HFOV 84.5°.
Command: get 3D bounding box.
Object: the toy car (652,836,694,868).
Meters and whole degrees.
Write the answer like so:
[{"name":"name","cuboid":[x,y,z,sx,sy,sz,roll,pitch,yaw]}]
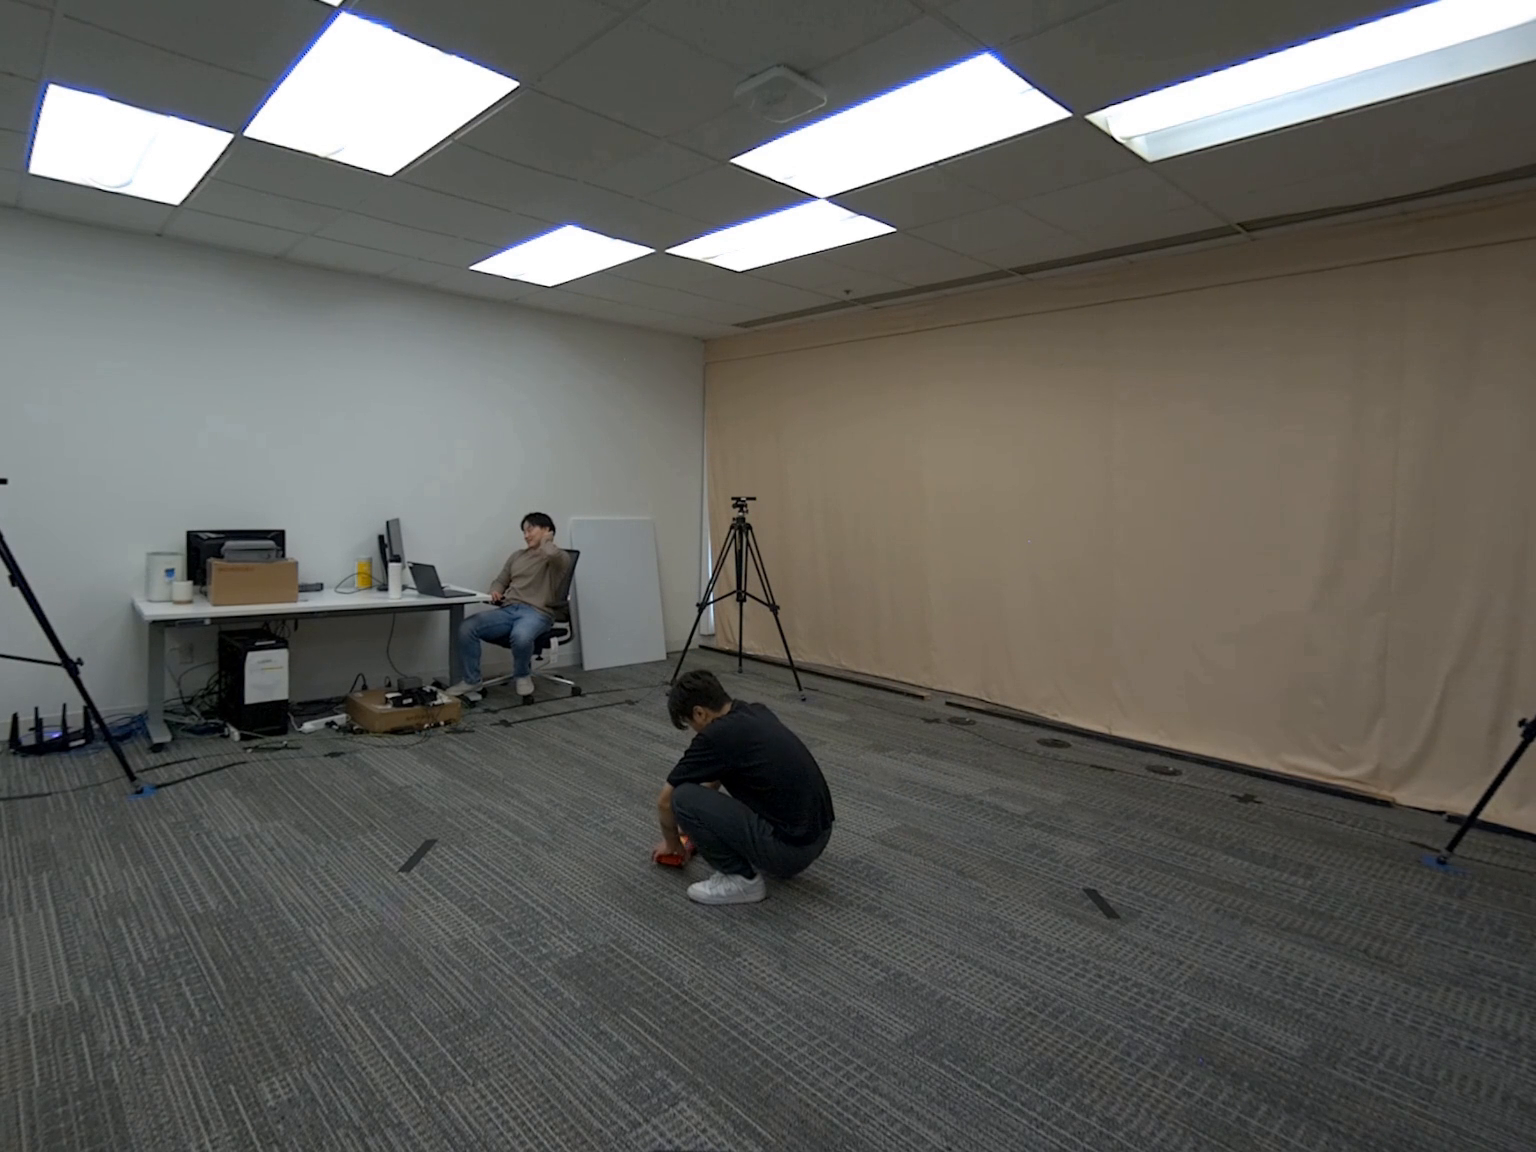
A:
[{"name":"toy car","cuboid":[-0.341,1.050,3.257,0.132,0.082,0.254,2,15,14]}]
